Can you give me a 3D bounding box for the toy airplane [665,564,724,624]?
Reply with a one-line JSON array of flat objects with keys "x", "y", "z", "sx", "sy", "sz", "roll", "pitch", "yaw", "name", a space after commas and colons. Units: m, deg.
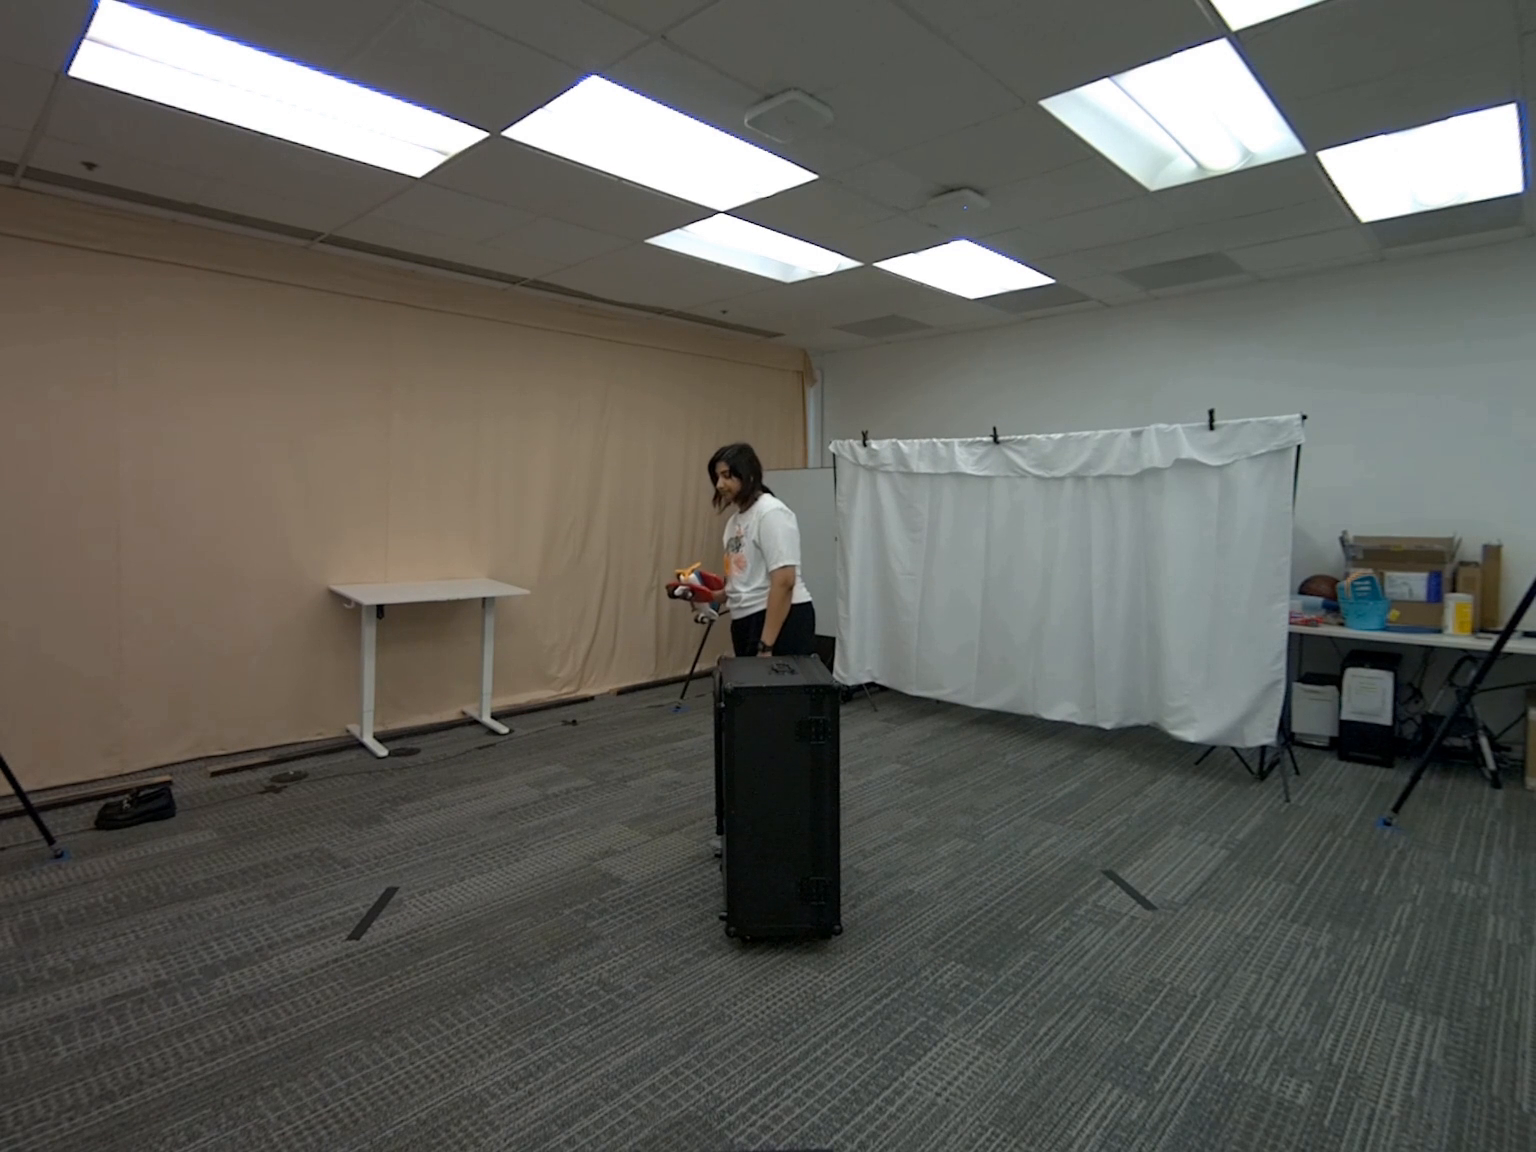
[{"x": -0.316, "y": 0.076, "z": 3.550, "sx": 0.256, "sy": 0.156, "sz": 0.254, "roll": 21, "pitch": -28, "yaw": 17, "name": "toy airplane"}]
